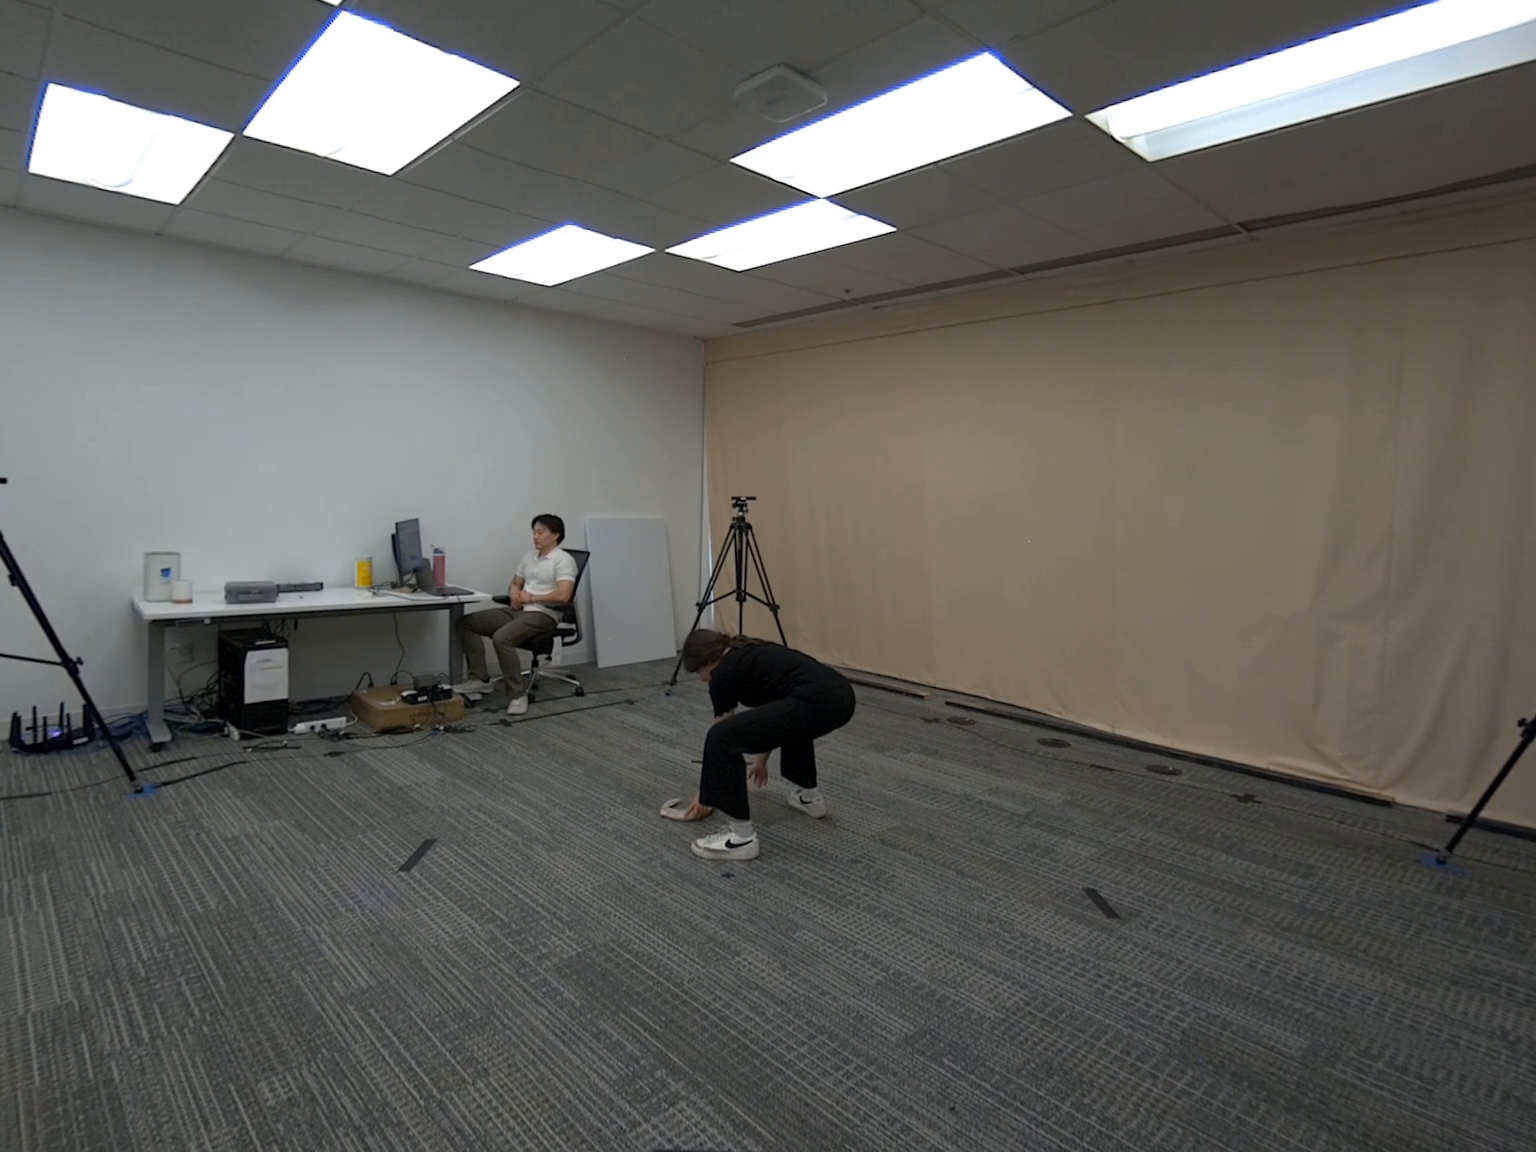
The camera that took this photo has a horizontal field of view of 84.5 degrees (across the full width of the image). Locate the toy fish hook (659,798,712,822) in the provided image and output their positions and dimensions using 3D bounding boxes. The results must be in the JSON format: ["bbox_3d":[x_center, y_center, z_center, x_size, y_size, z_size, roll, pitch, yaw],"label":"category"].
[{"bbox_3d":[-0.307,1.015,3.842,0.230,0.048,0.497,6,7,30],"label":"toy fish hook"}]
